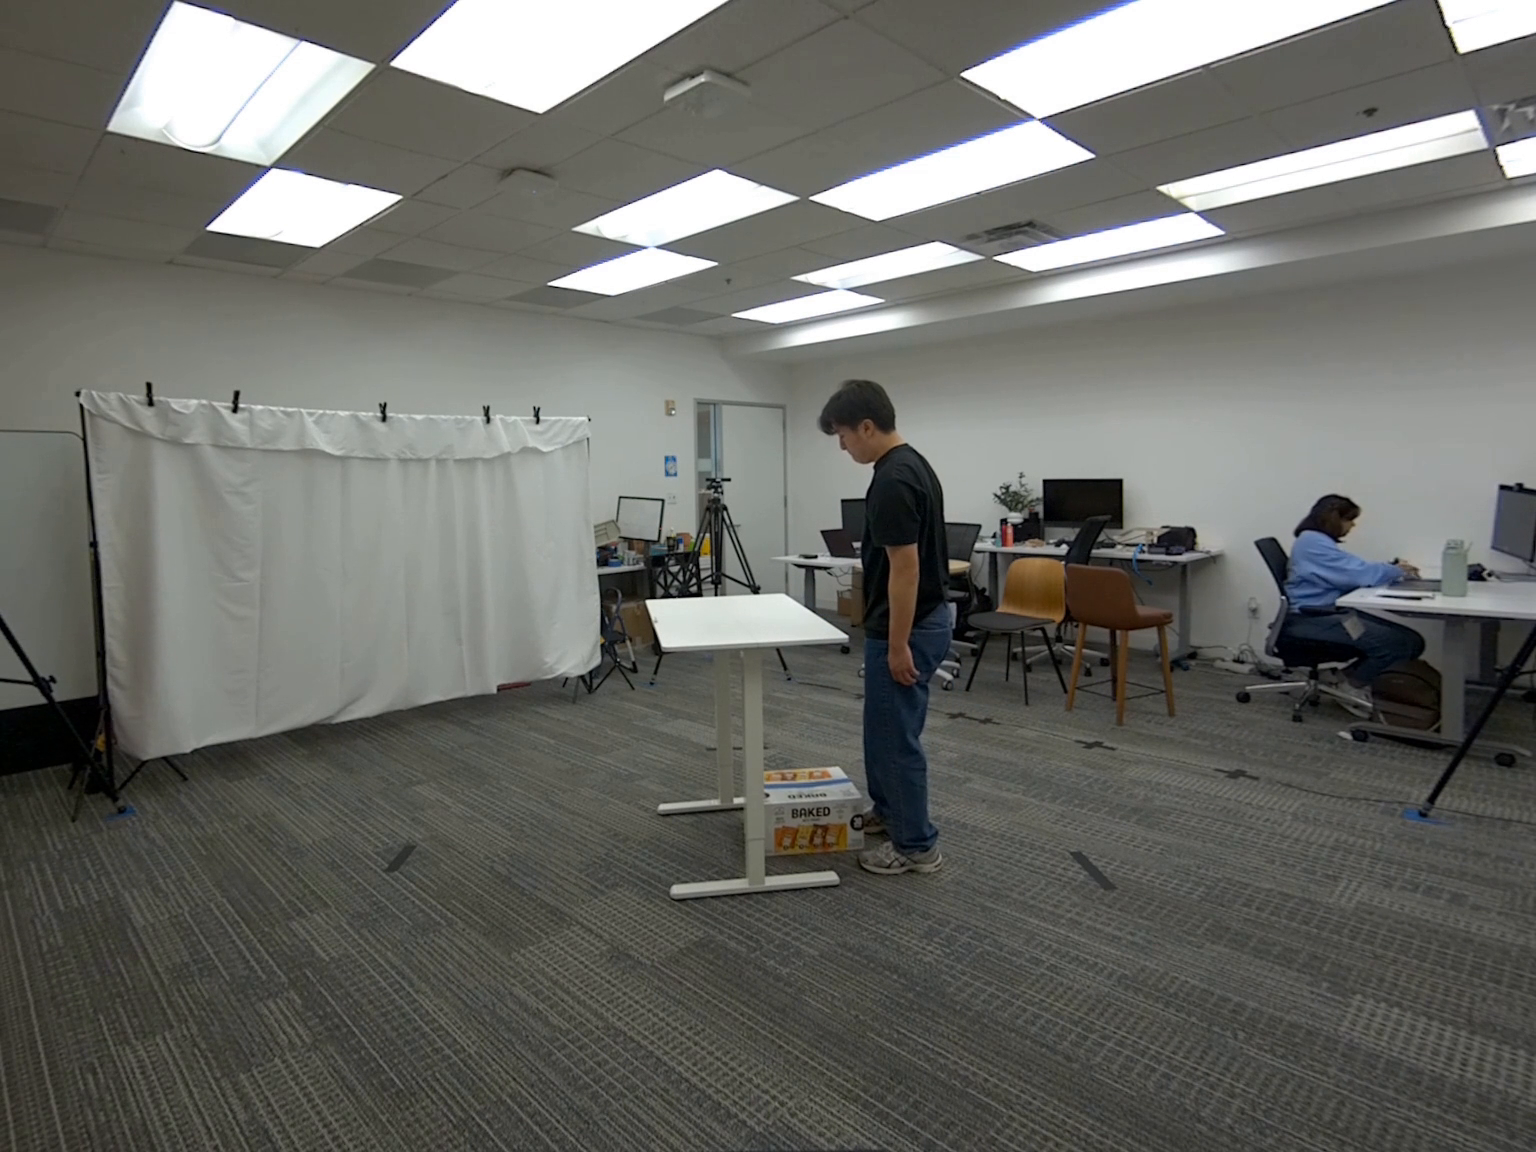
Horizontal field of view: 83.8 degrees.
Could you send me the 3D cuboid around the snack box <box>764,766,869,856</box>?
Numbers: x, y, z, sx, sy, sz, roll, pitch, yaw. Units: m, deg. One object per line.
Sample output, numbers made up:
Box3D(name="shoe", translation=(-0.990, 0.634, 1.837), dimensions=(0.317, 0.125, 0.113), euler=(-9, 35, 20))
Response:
Box3D(name="snack box", translation=(0.135, 0.911, 3.329), dimensions=(0.402, 0.205, 0.344), euler=(-2, 6, -8))
